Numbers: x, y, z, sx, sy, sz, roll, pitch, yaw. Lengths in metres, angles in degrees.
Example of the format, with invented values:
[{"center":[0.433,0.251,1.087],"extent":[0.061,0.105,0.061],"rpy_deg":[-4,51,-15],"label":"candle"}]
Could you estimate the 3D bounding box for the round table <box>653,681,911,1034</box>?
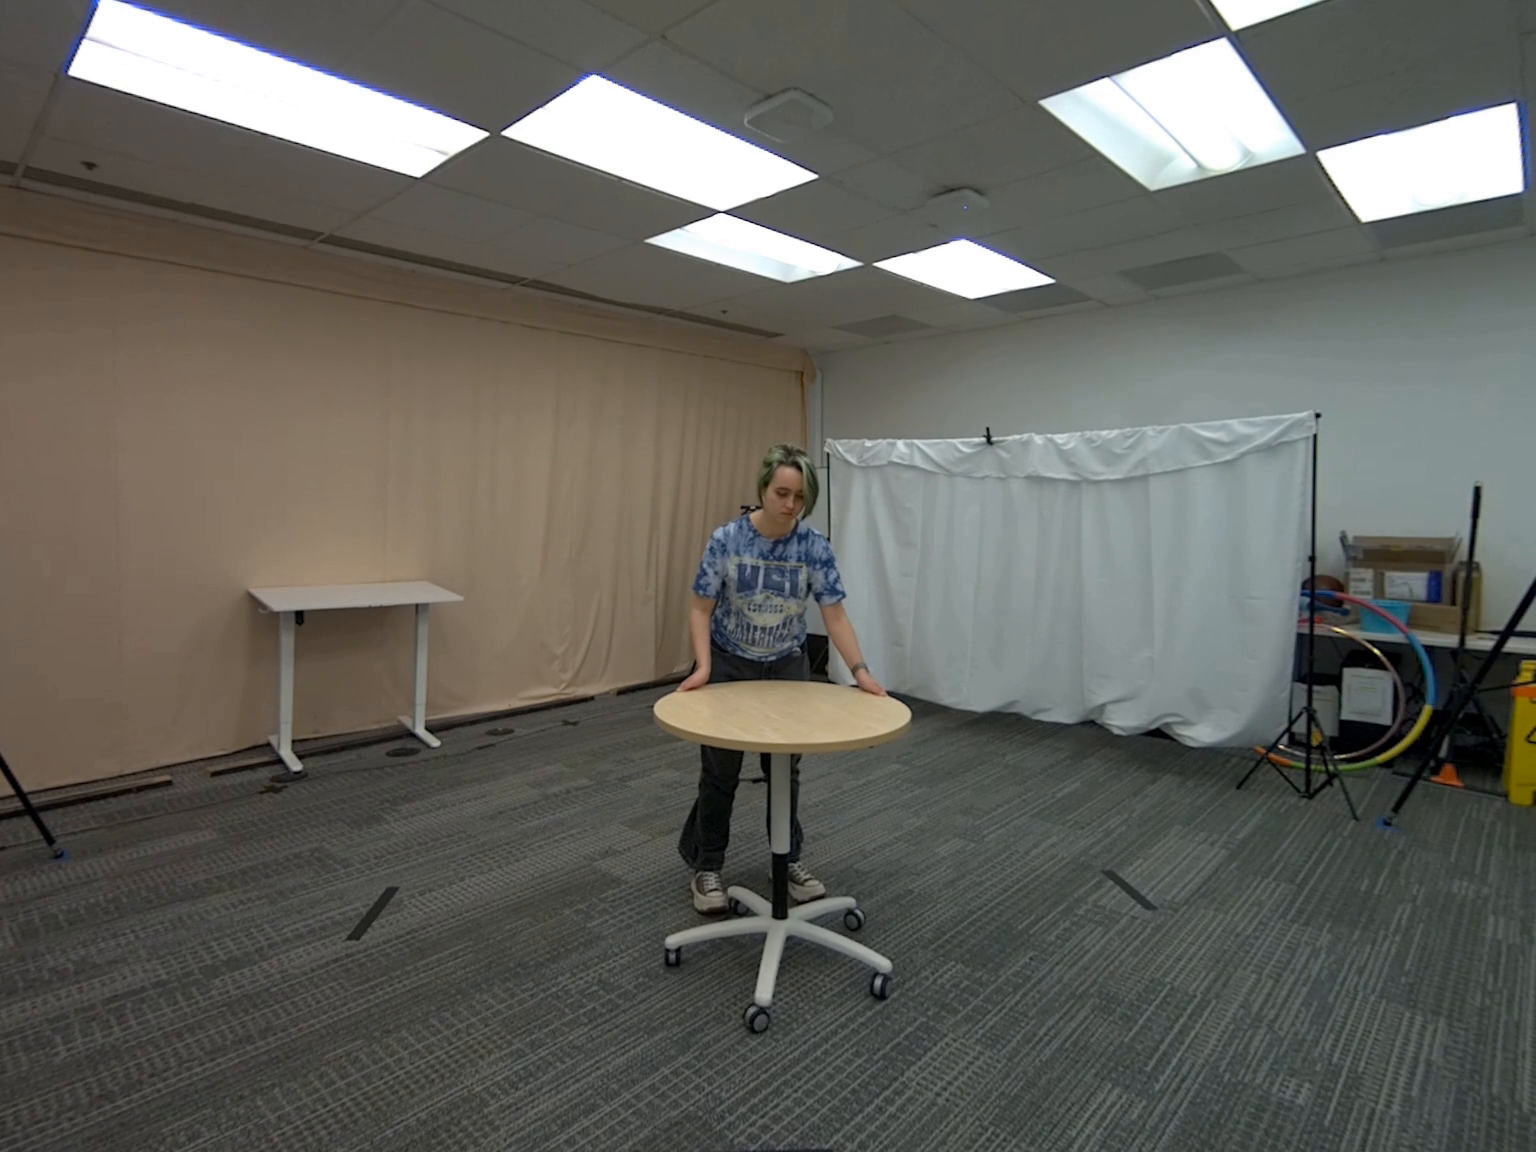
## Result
[{"center":[0.048,0.788,2.555],"extent":[0.763,0.792,0.767],"rpy_deg":[0,4,-2],"label":"round table"}]
